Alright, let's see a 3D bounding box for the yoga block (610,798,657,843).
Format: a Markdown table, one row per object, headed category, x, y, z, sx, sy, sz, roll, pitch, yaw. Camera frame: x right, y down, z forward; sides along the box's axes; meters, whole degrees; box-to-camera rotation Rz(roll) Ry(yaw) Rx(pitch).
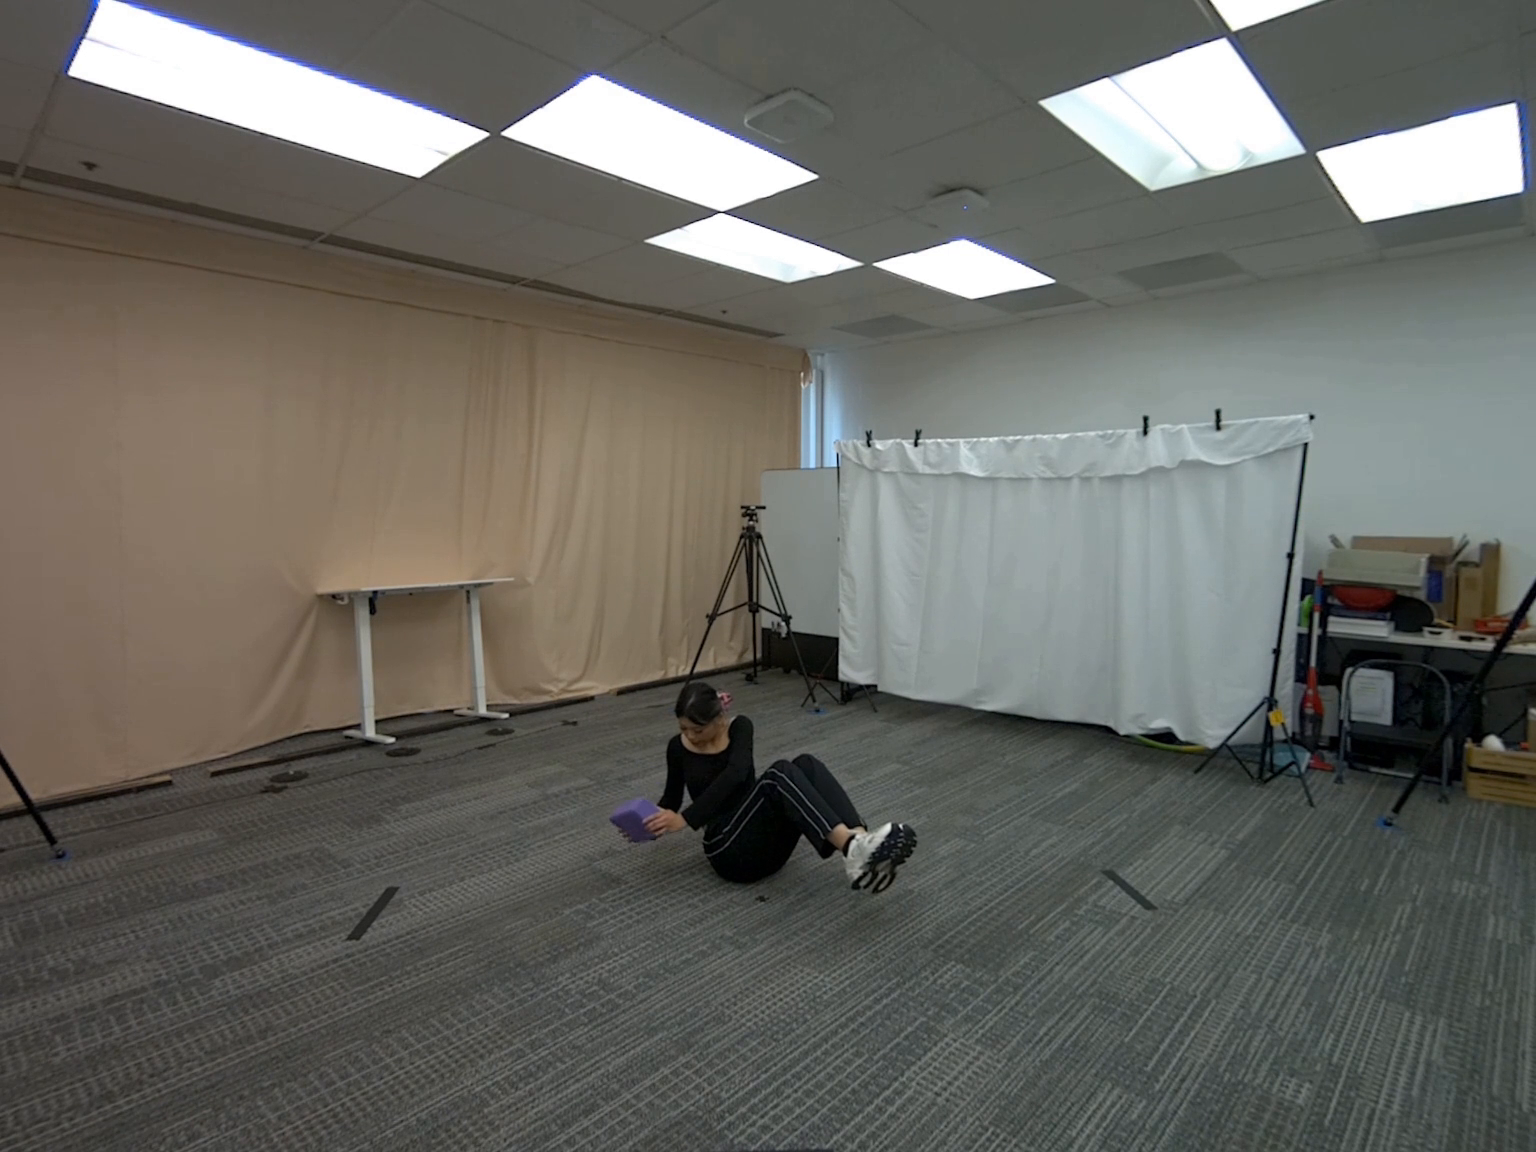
| category | x | y | z | sx | sy | sz | roll | pitch | yaw |
| --- | --- | --- | --- | --- | --- | --- | --- | --- | --- |
| yoga block | -0.479 | 0.911 | 3.150 | 0.233 | 0.148 | 0.076 | -33 | 12 | 48 |
